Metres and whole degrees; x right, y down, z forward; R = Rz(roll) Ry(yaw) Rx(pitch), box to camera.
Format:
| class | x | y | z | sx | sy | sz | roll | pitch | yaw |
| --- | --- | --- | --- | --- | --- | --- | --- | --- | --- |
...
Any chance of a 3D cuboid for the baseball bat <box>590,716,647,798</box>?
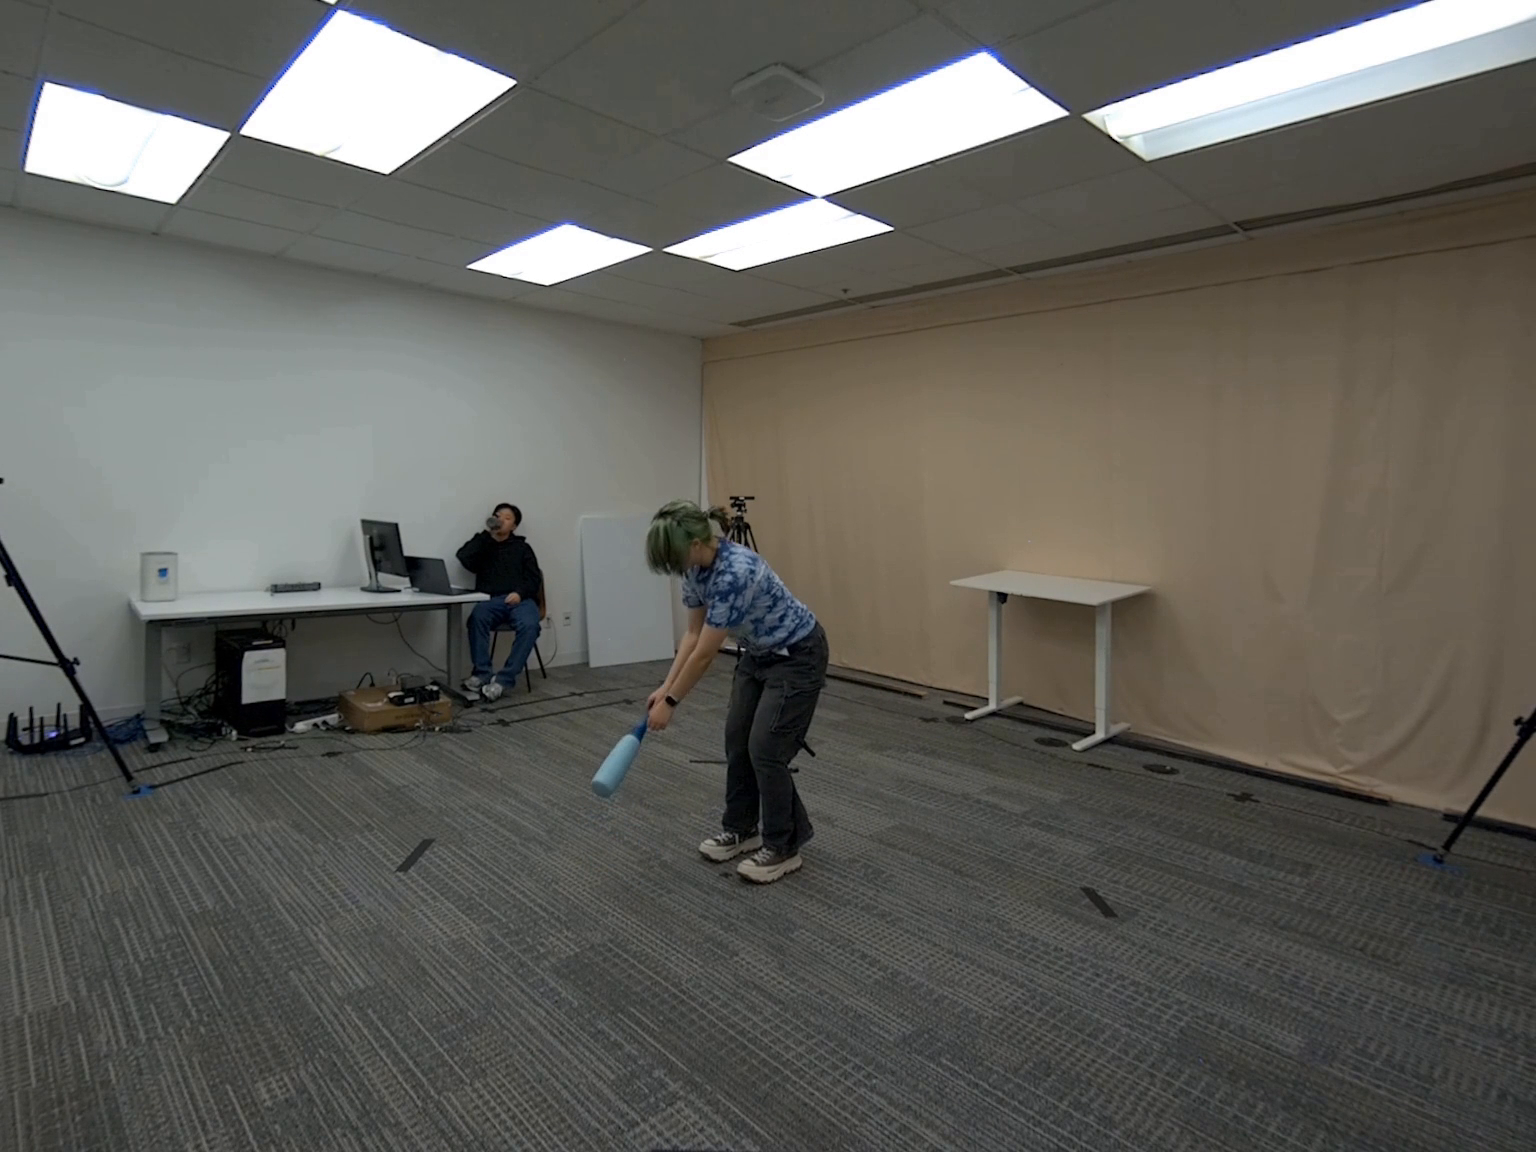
| class | x | y | z | sx | sy | sz | roll | pitch | yaw |
| --- | --- | --- | --- | --- | --- | --- | --- | --- | --- |
| baseball bat | -0.513 | 0.608 | 3.116 | 0.090 | 0.087 | 0.547 | 2 | 31 | 15 |
